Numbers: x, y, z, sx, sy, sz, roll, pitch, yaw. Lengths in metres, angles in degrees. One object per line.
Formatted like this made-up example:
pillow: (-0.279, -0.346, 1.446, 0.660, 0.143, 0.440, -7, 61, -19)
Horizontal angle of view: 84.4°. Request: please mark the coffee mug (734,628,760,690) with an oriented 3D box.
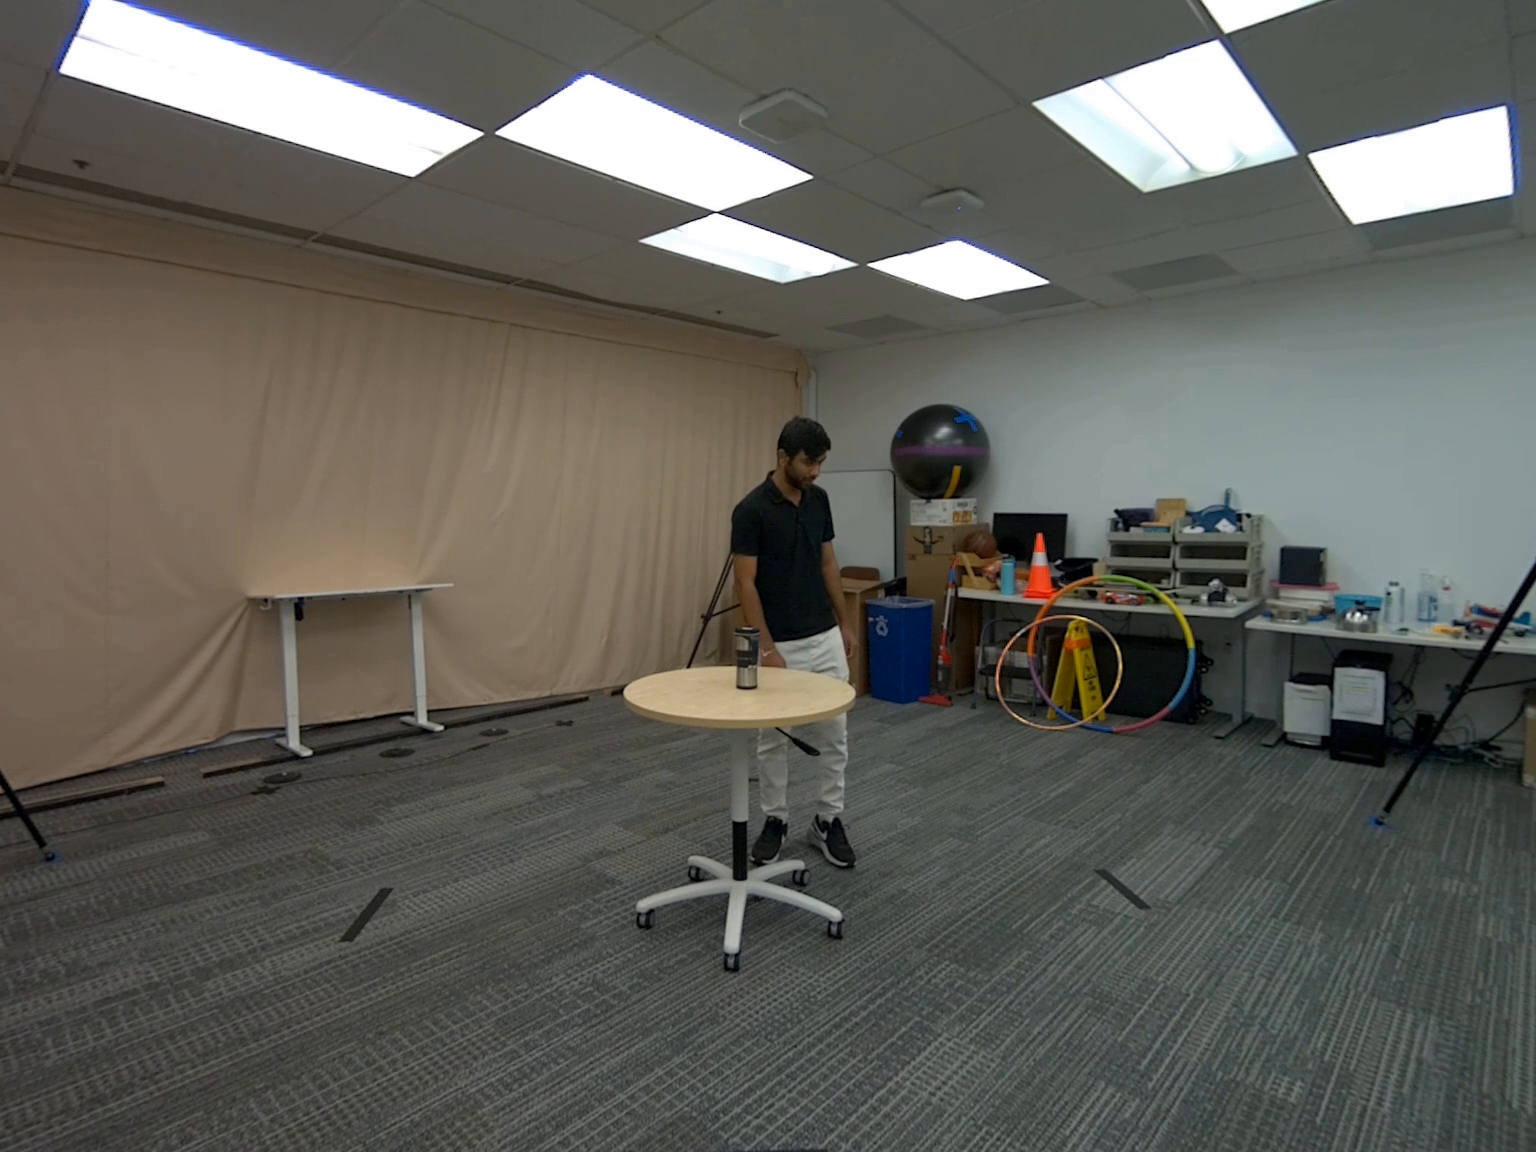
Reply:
coffee mug: (-0.072, 0.277, 2.801, 0.088, 0.203, 0.122, 2, 1, 1)
